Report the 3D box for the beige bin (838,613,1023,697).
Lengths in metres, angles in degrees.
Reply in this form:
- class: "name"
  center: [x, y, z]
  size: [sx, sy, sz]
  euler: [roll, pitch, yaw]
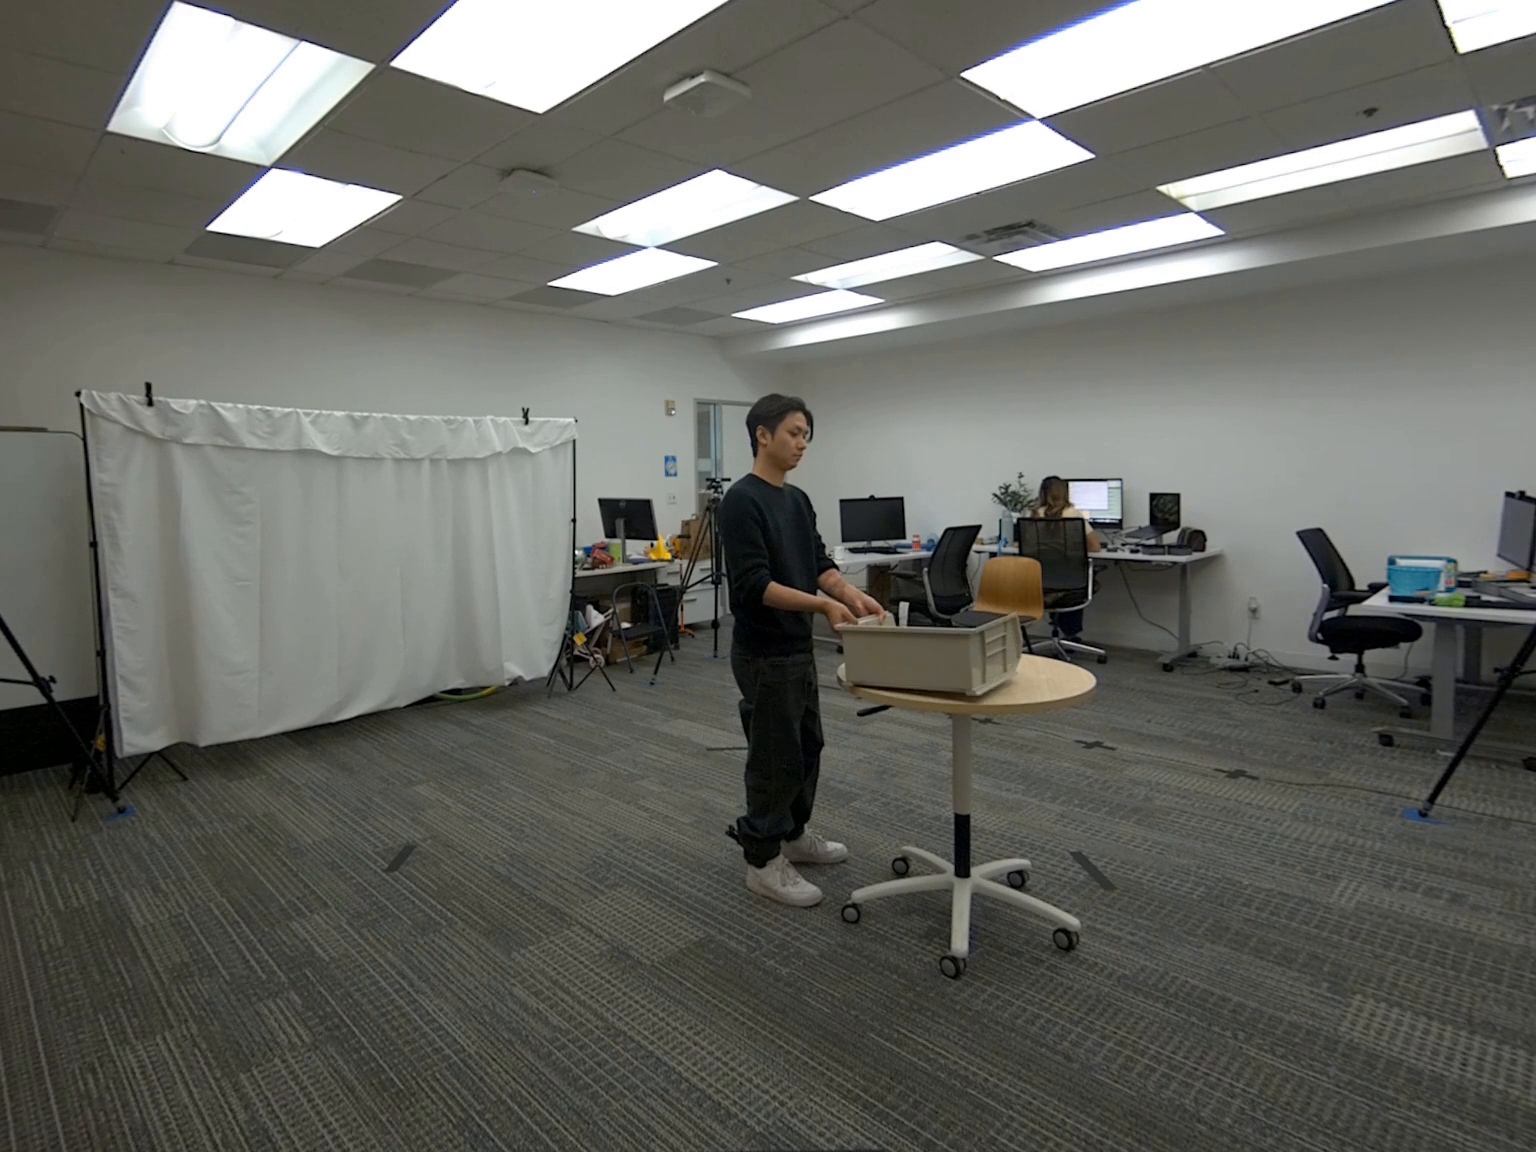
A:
- class: "beige bin"
  center: [0.479, 0.216, 2.520]
  size: [0.434, 0.188, 0.368]
  euler: [-1, 6, 36]
